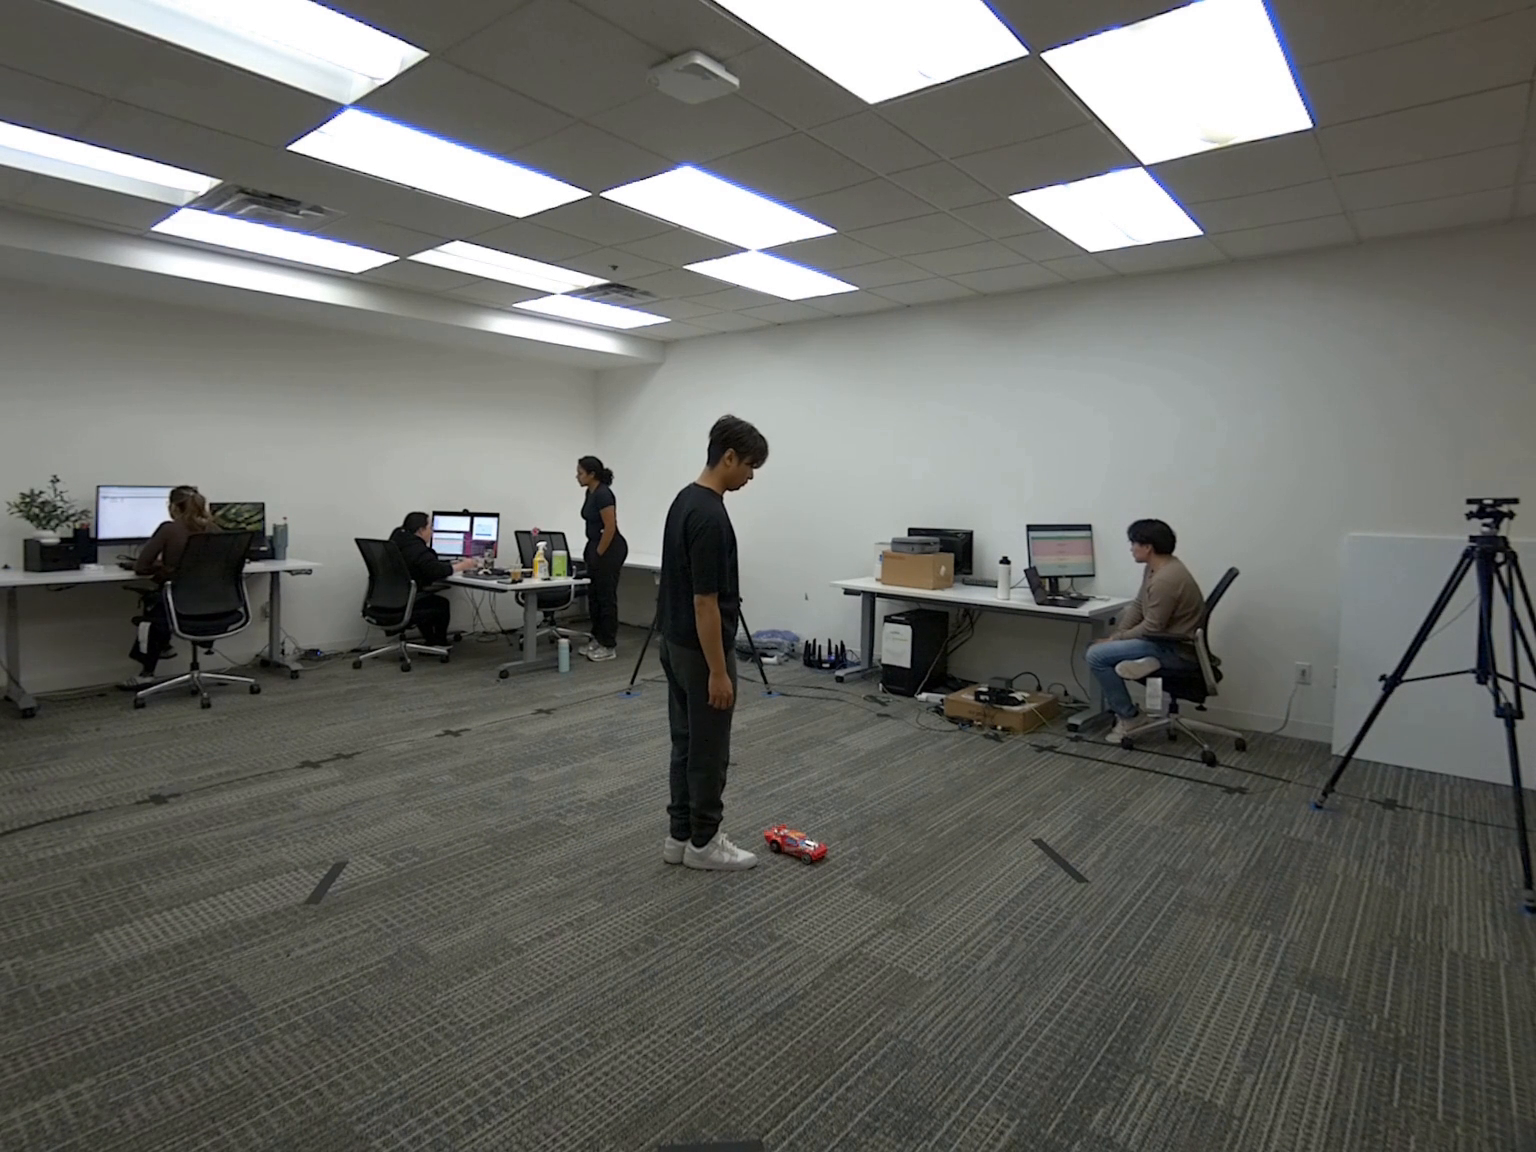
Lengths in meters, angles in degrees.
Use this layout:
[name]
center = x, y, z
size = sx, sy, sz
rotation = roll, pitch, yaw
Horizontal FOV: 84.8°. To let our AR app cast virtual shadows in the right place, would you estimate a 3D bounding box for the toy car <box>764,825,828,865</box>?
[toy car]
center = 0.089, 1.027, 3.266
size = 0.264, 0.082, 0.126
rotation = 20, 15, 37
